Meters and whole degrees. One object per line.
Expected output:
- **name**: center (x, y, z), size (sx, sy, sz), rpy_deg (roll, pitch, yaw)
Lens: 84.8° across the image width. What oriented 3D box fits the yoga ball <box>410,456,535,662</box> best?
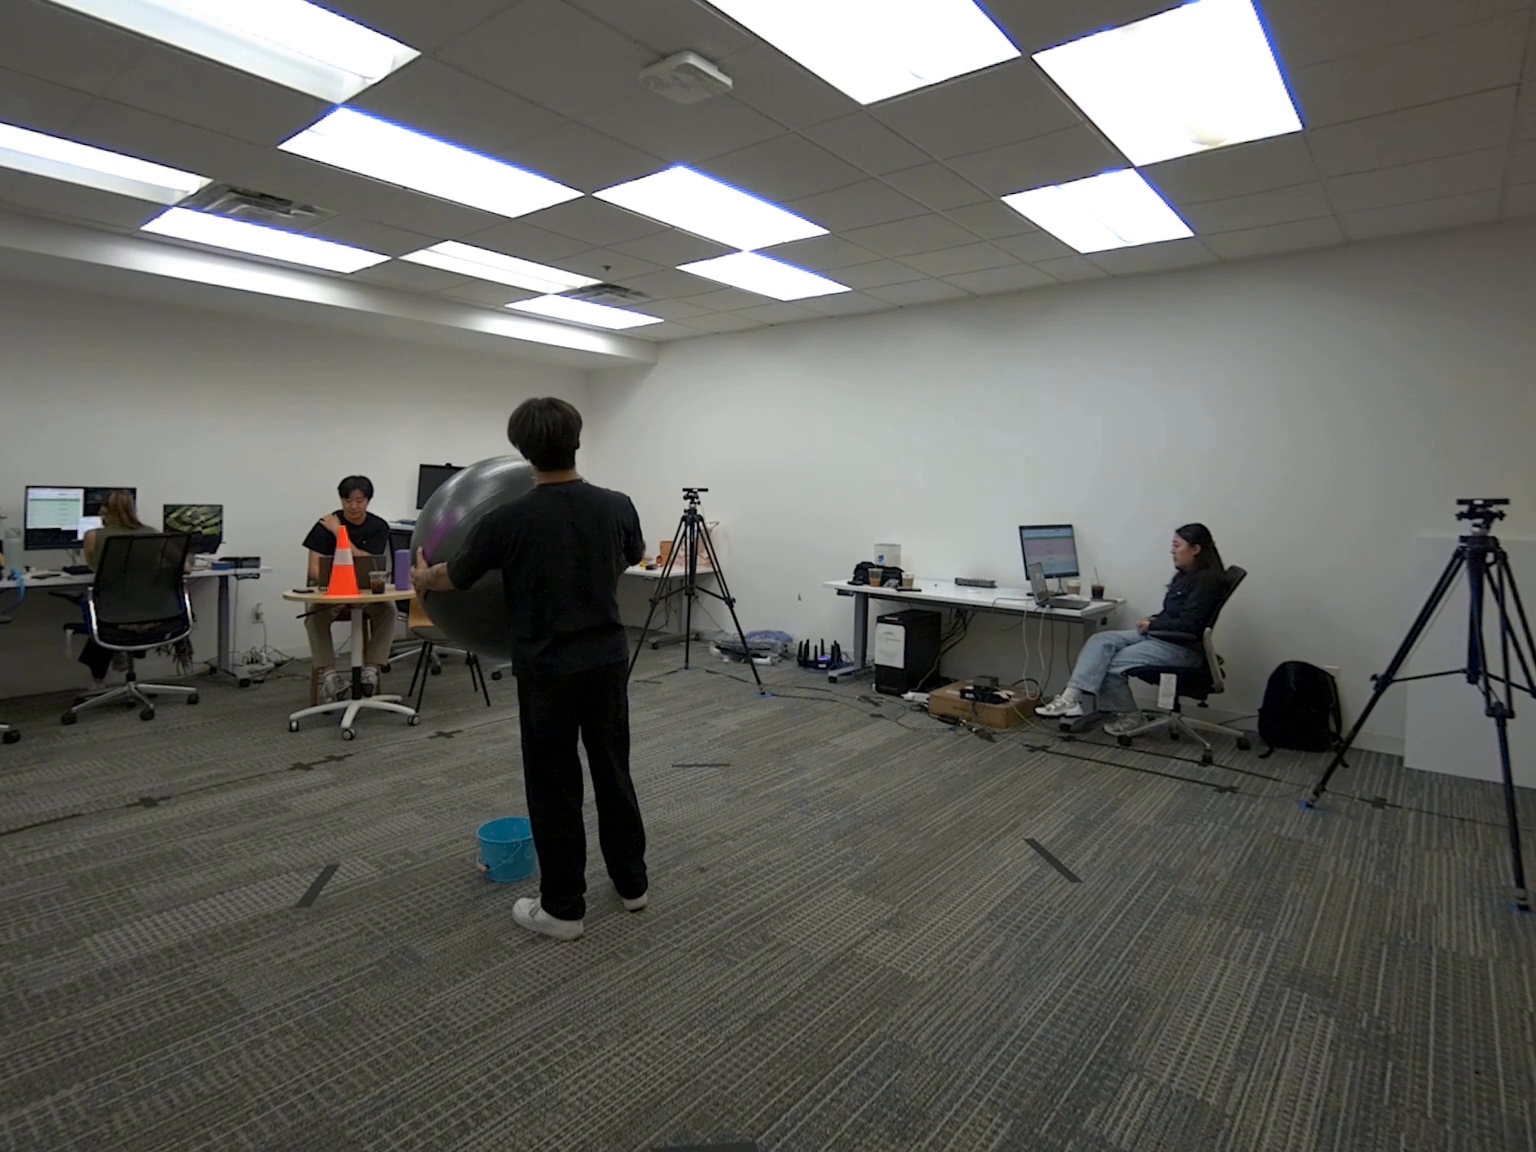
- **yoga ball**: center (-0.952, -0.060, 3.149), size (0.757, 0.756, 0.762), rpy_deg (1, 4, -2)
